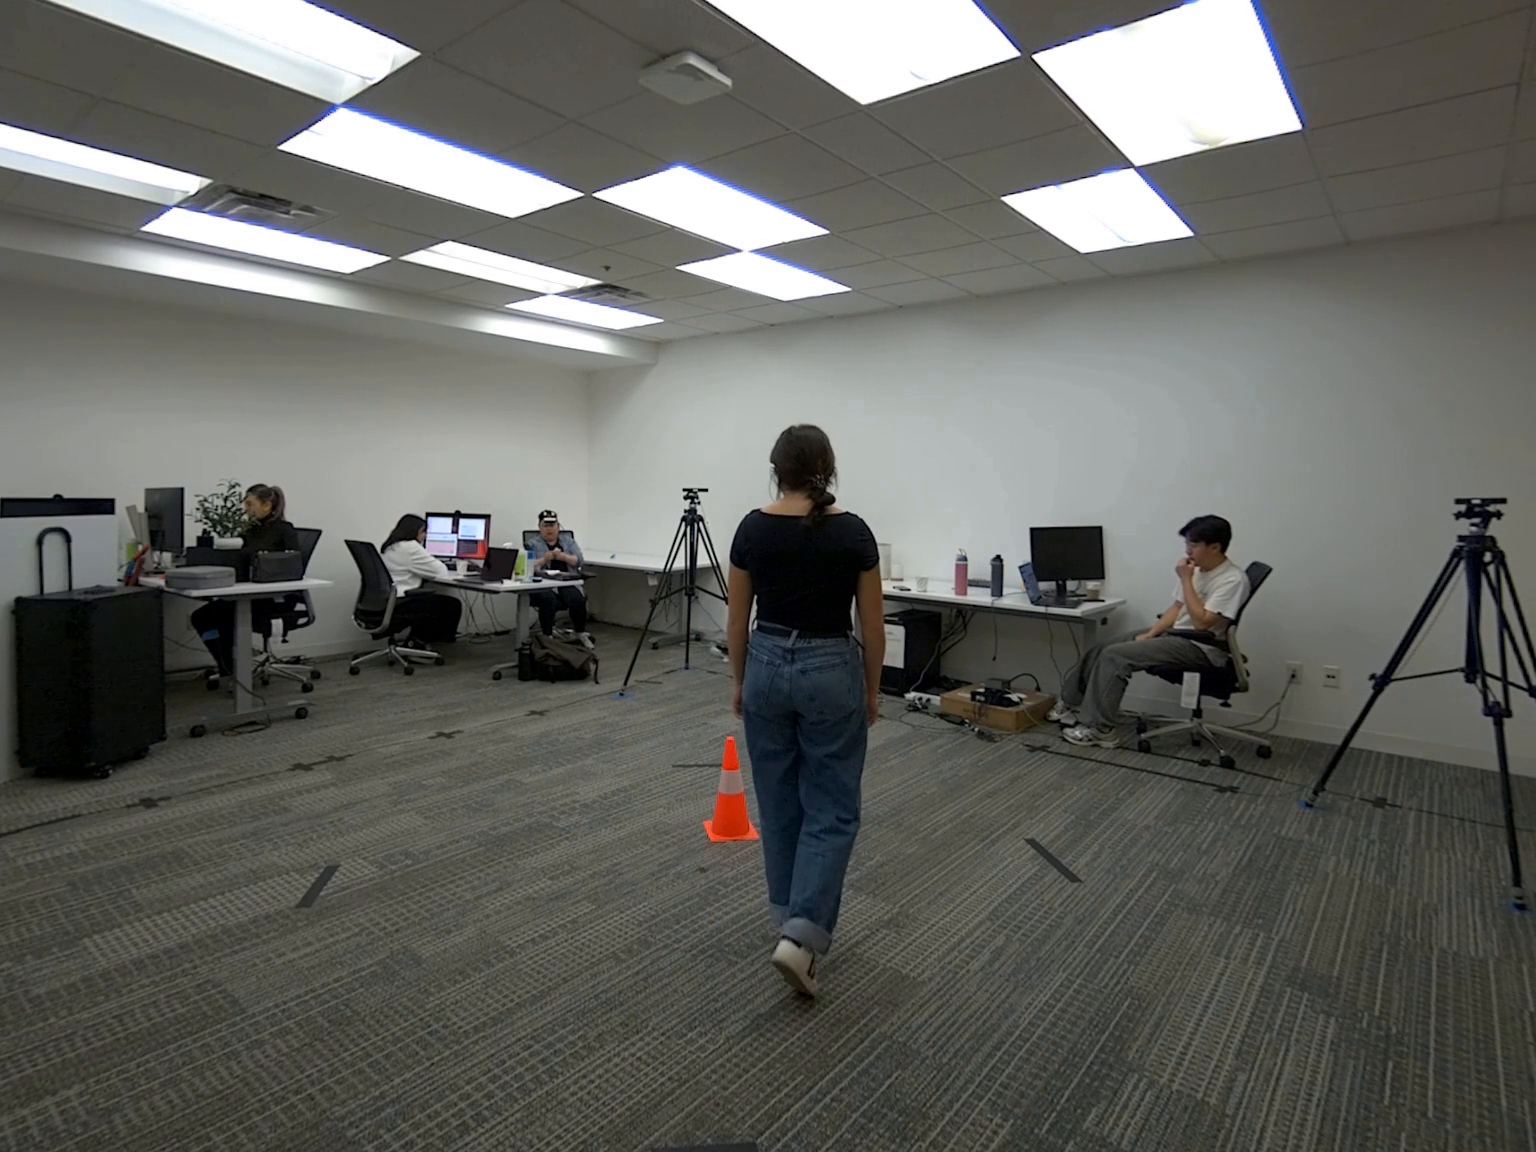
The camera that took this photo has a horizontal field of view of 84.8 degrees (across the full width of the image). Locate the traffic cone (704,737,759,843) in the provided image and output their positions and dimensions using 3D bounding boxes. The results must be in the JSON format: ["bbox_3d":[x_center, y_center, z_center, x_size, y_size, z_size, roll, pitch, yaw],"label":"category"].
[{"bbox_3d":[-0.148,0.843,3.460,0.200,0.382,0.209,-2,6,-15],"label":"traffic cone"}]
